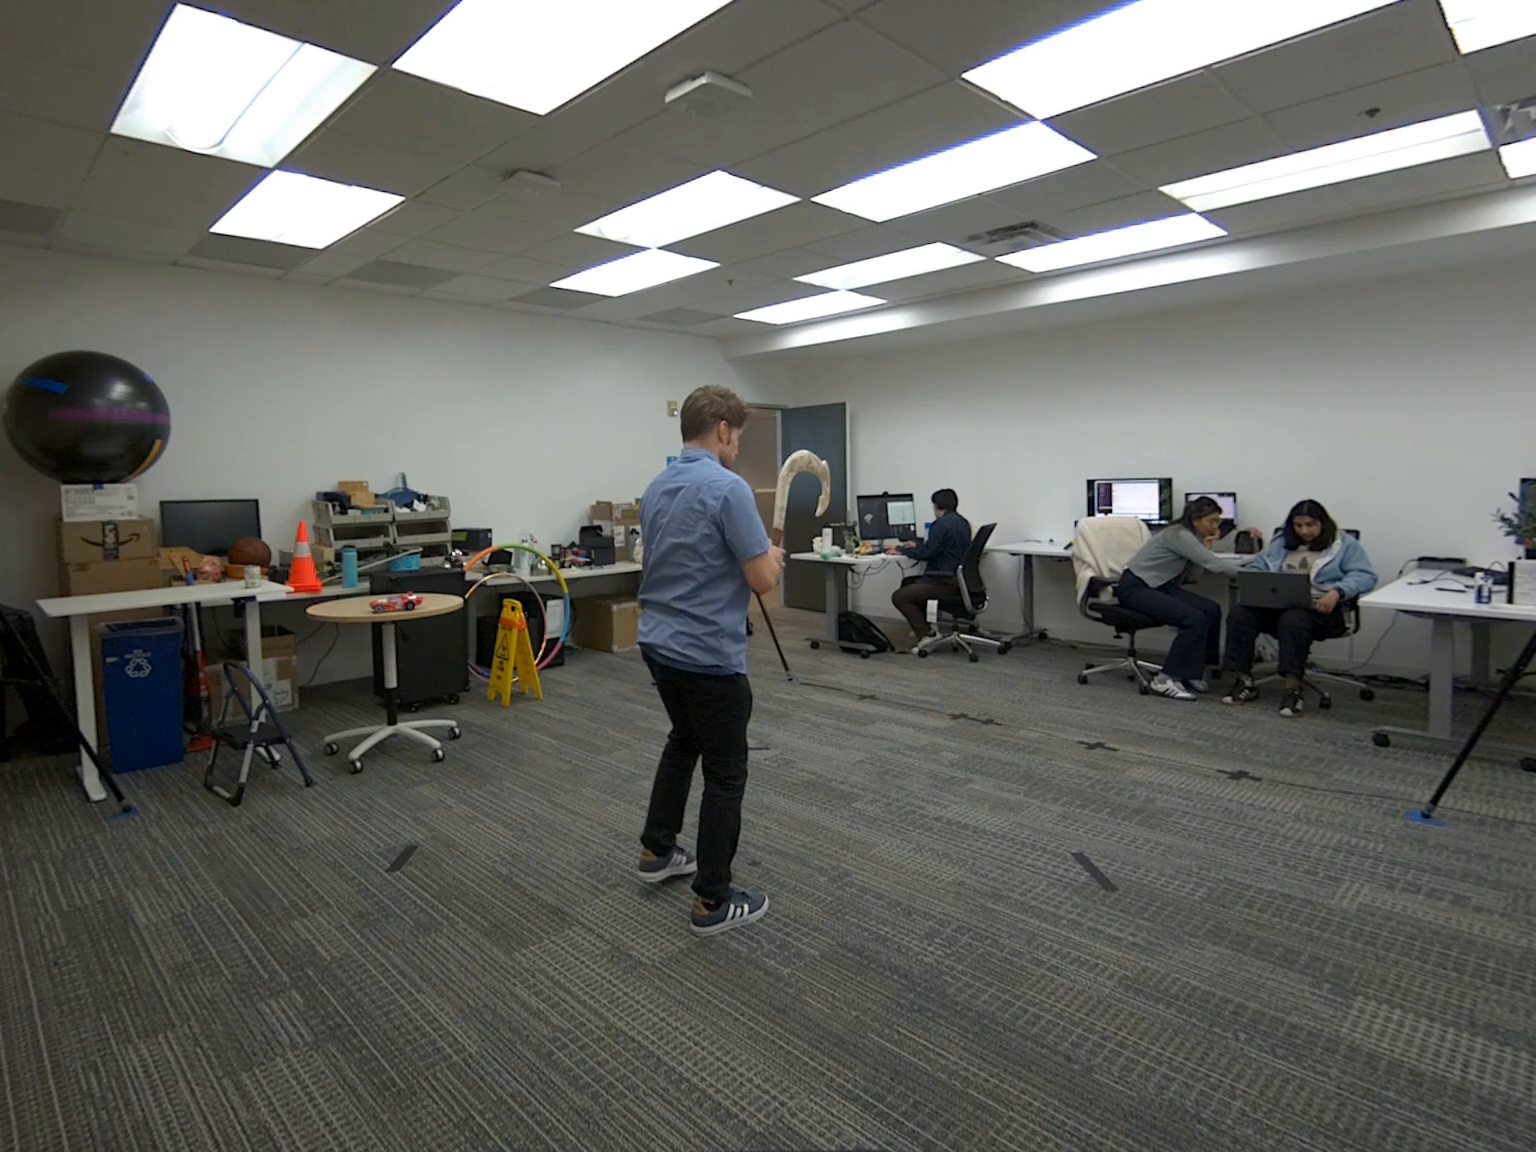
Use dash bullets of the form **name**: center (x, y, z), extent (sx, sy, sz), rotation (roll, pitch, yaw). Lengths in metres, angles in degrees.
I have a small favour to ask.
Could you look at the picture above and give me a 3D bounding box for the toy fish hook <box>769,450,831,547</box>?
- **toy fish hook**: center (0.091, -0.188, 2.977), extent (0.218, 0.510, 0.049), rotation (25, -13, -24)
